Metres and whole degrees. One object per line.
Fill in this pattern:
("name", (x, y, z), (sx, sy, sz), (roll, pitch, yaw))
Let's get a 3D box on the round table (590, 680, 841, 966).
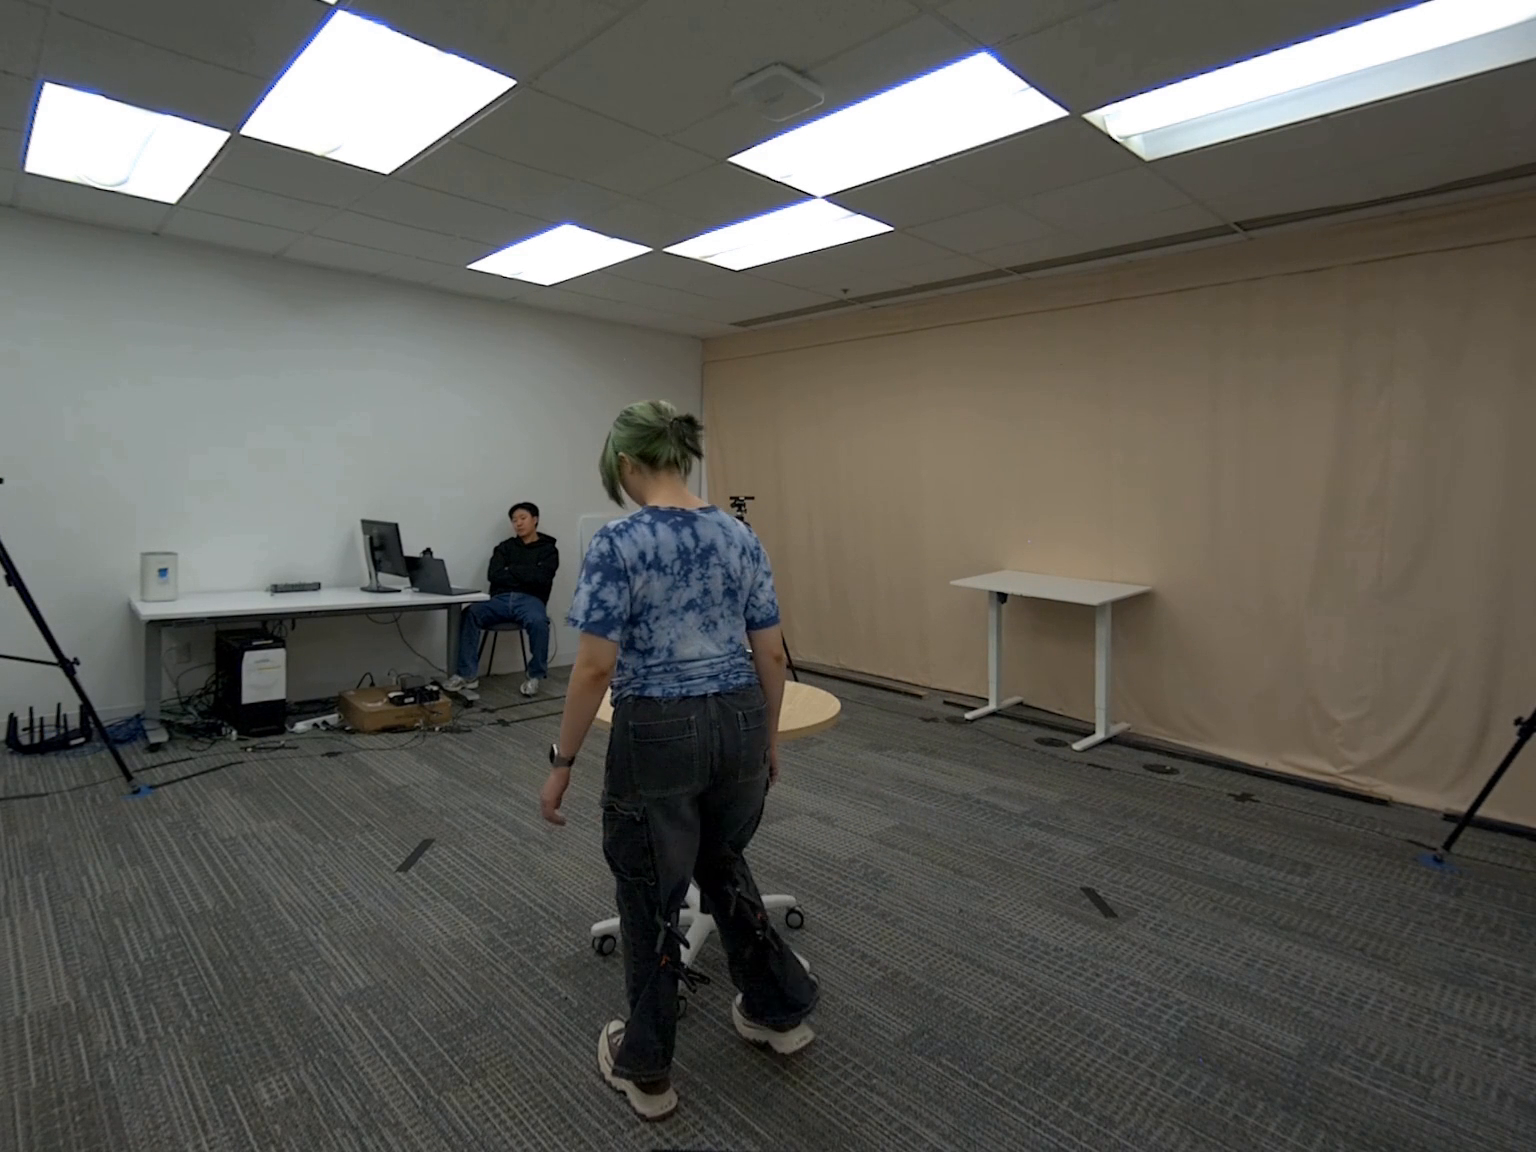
("round table", (-0.174, 0.768, 2.540), (0.763, 0.792, 0.767), (1, 4, -1))
